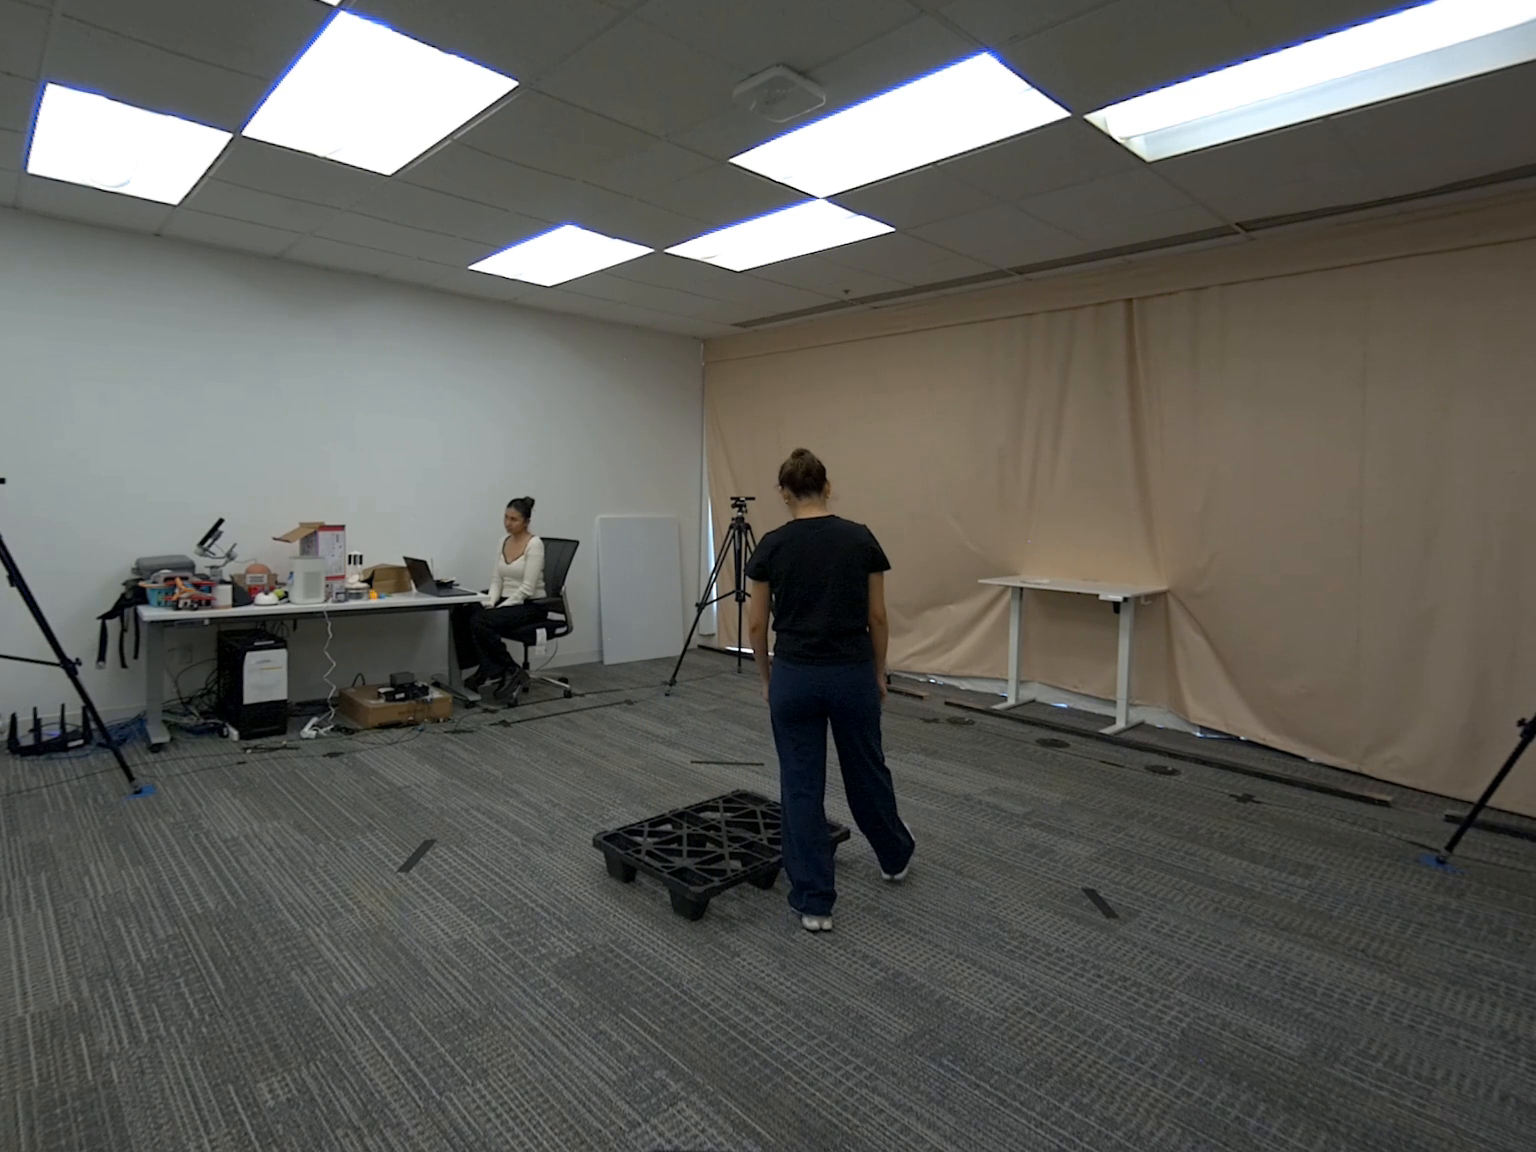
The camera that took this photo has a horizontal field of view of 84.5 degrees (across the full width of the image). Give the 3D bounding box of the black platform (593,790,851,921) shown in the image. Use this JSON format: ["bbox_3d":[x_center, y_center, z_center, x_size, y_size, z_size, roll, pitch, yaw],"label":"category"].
[{"bbox_3d":[-0.176,1.037,3.163,0.620,0.143,0.787,5,6,44],"label":"black platform"}]
